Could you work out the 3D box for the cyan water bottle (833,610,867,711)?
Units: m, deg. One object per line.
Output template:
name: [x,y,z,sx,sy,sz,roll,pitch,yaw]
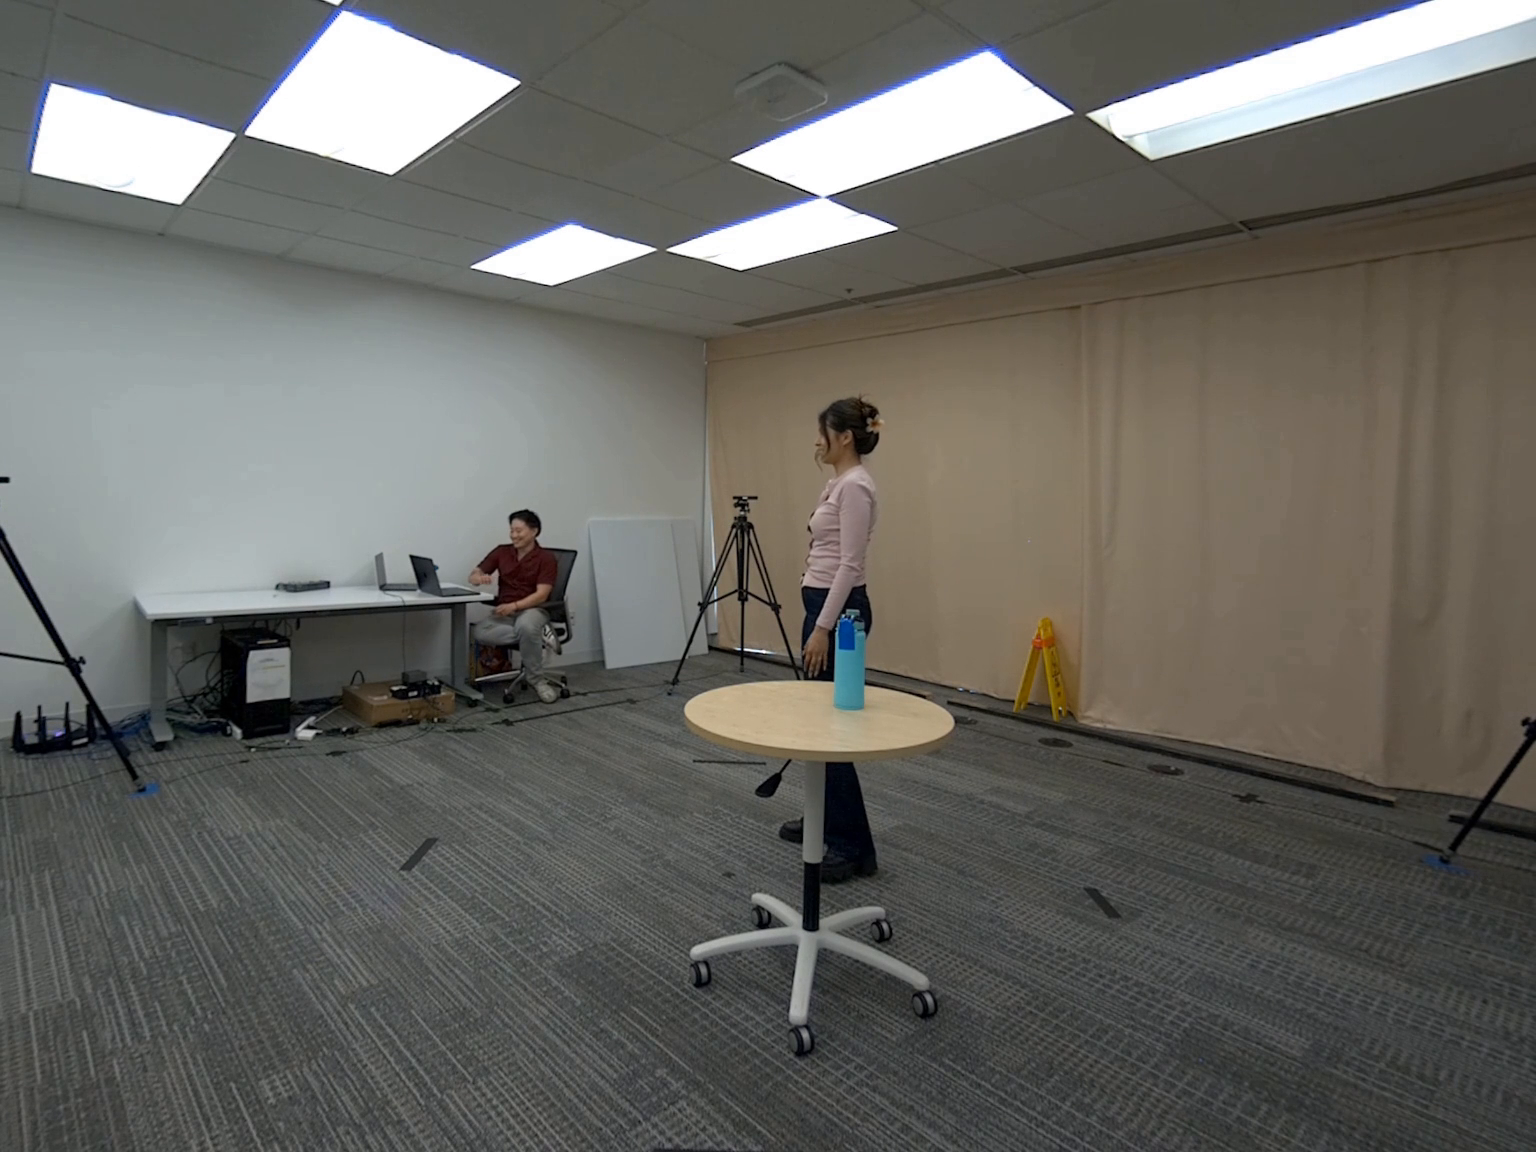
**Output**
cyan water bottle: [0.230,0.245,2.470,0.092,0.282,0.092,0,4,-1]
